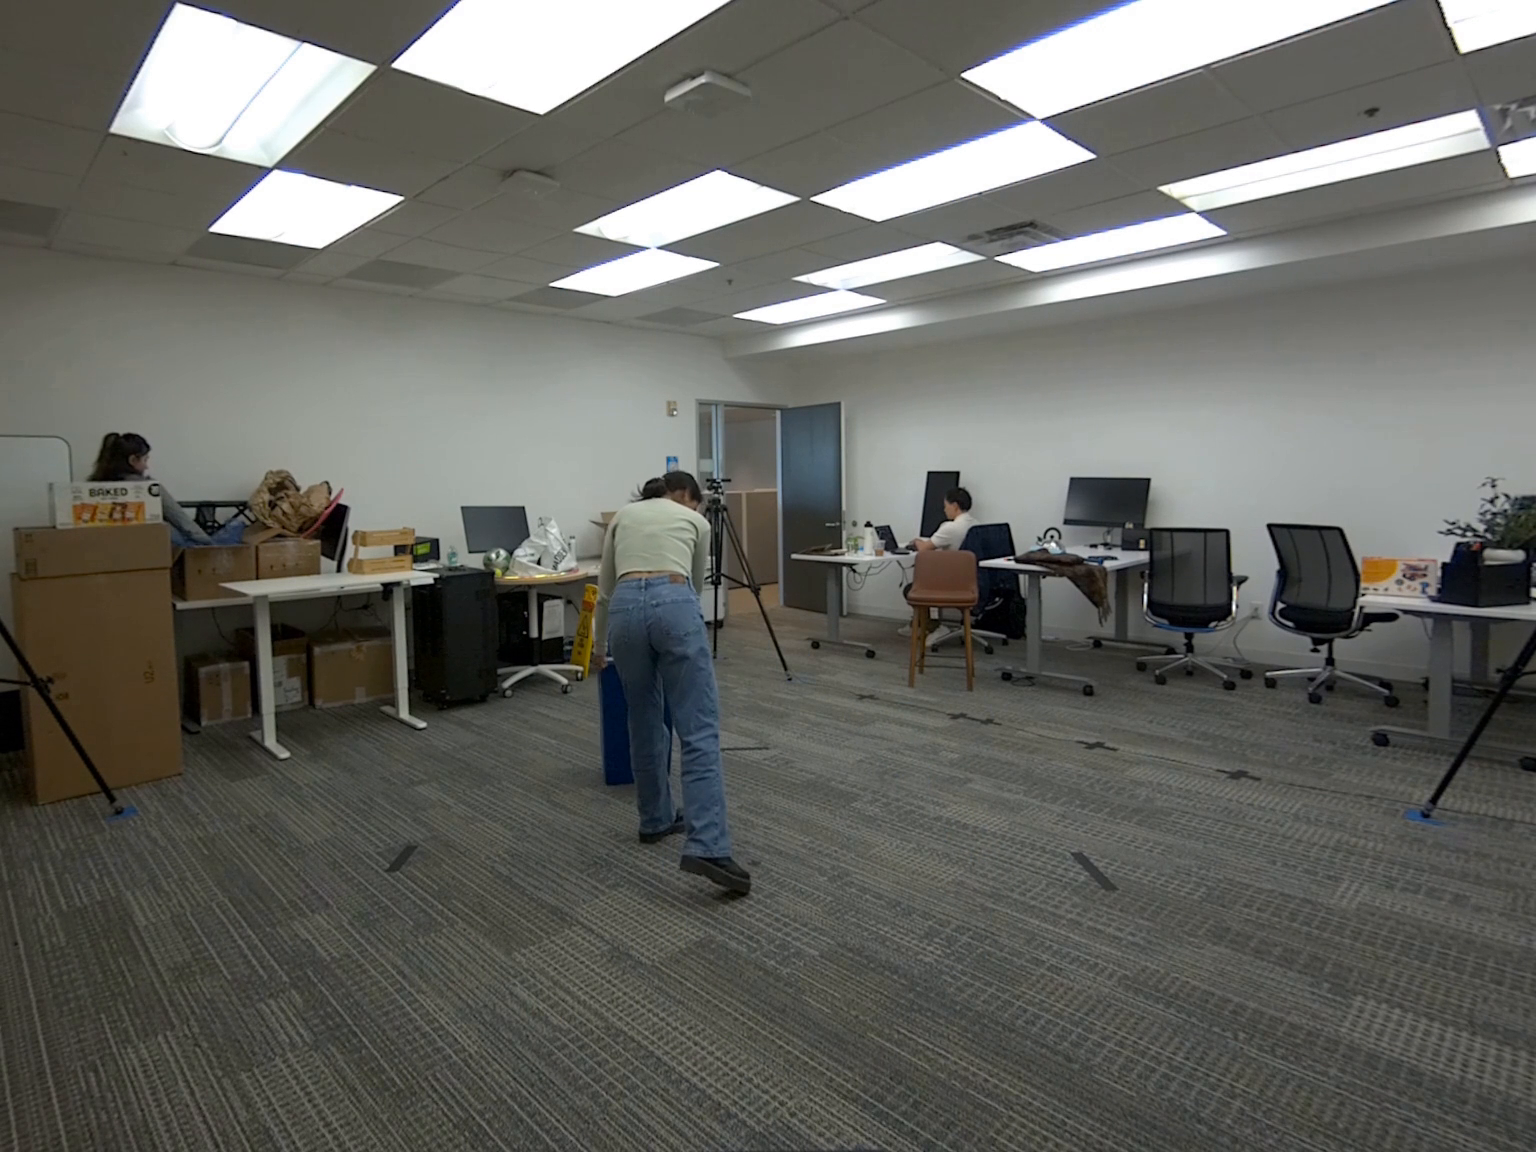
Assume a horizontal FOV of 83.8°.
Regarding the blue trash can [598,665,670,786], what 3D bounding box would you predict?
[{"bbox_3d":[-0.601,0.580,3.939,0.373,0.700,0.386,-3,26,-15],"label":"blue trash can"}]
